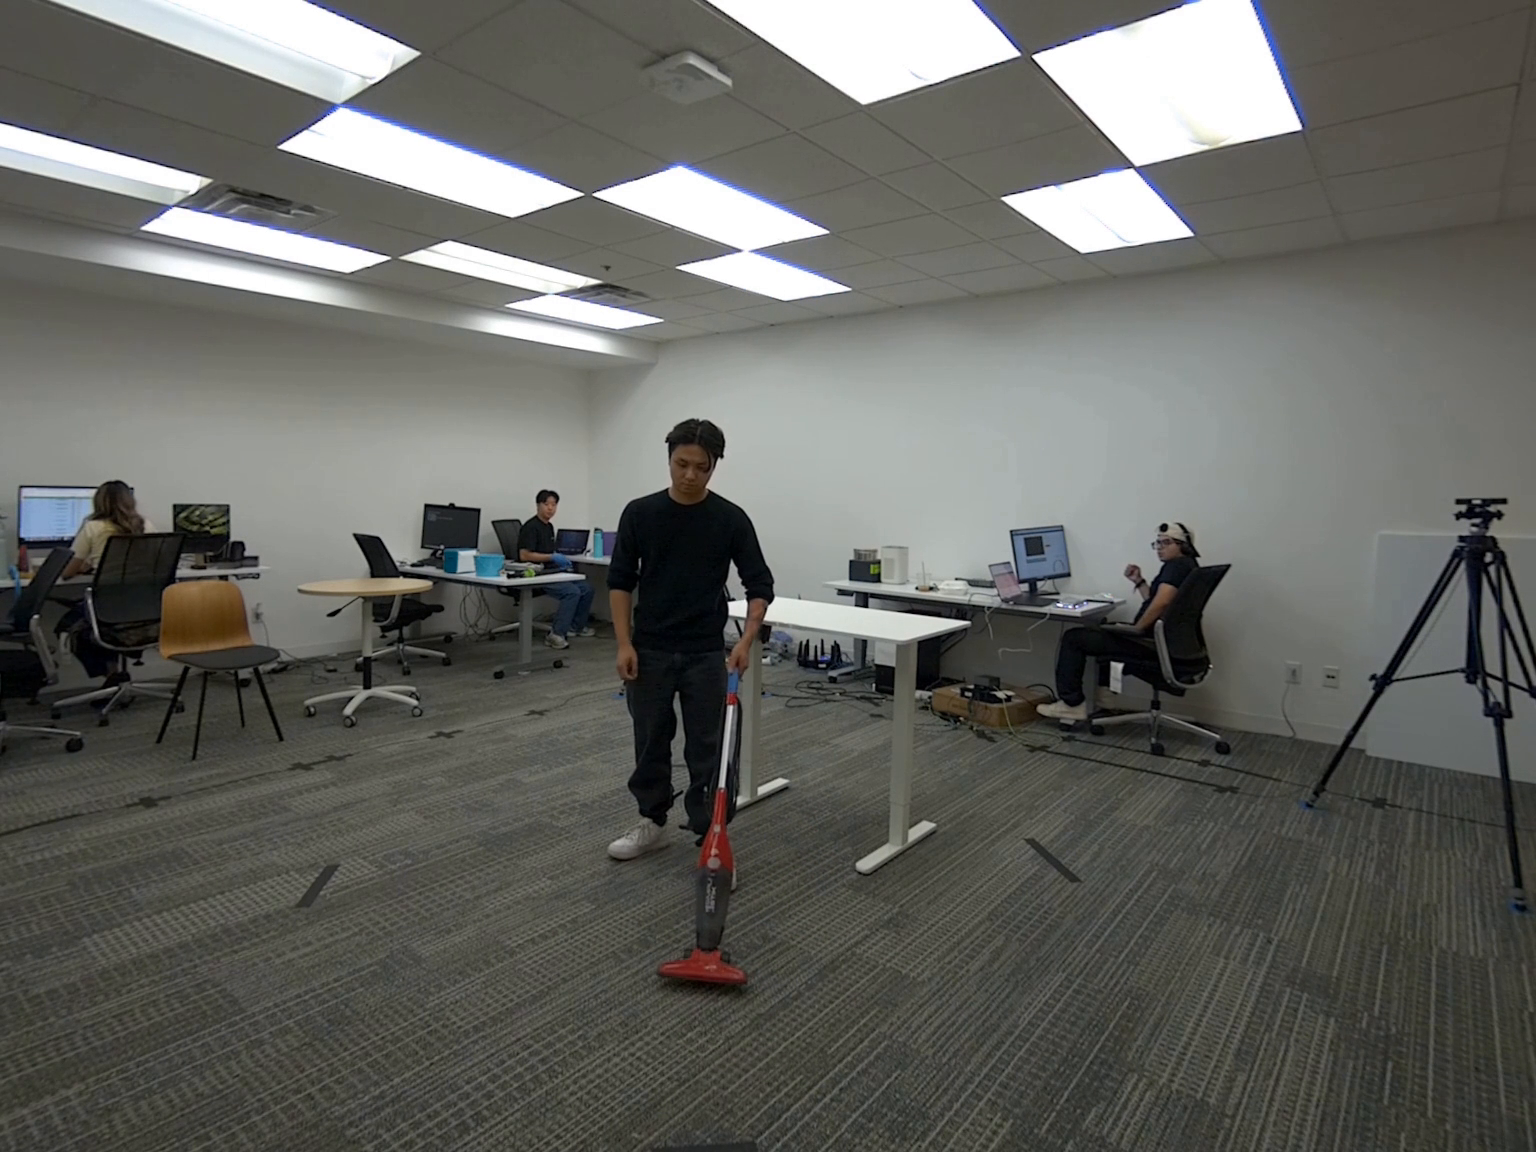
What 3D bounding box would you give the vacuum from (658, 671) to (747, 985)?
[{"bbox_3d":[-0.149,0.703,2.732,0.254,1.075,0.140,2,-38,4],"label":"vacuum"}]
